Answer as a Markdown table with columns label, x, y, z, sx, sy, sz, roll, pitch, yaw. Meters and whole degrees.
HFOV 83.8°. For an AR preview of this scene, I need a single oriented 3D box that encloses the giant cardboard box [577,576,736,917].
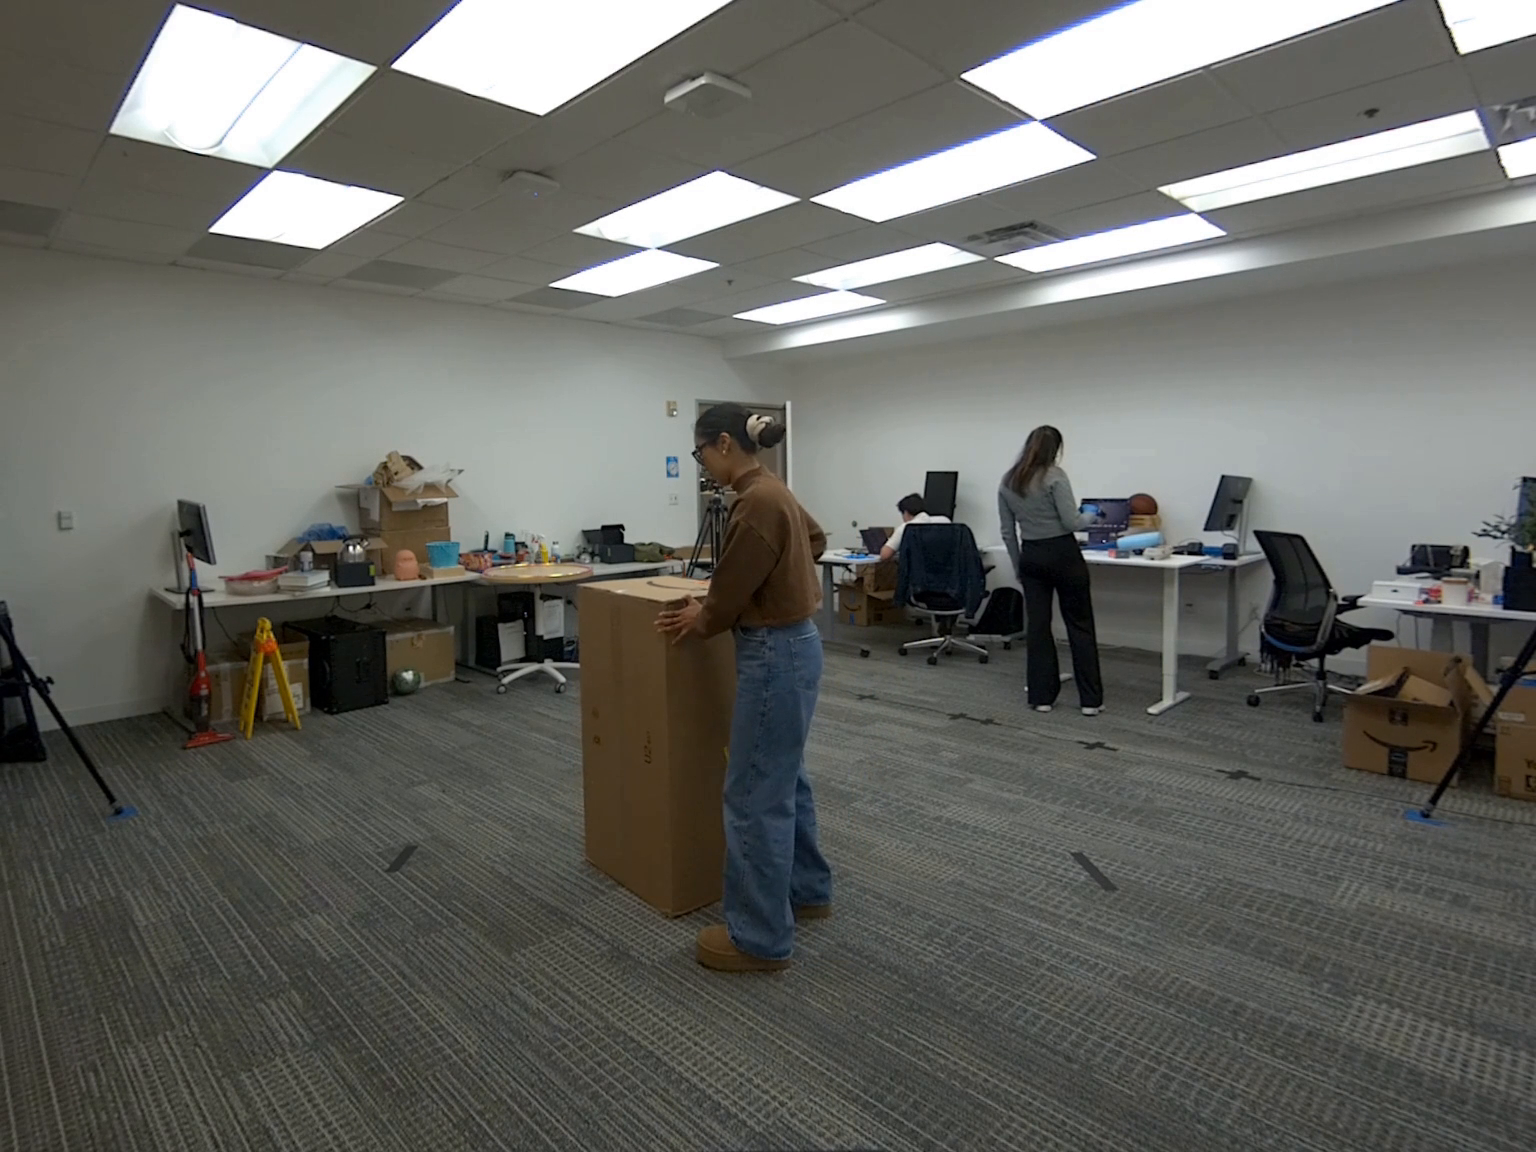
| label | x | y | z | sx | sy | sz | roll | pitch | yaw |
| --- | --- | --- | --- | --- | --- | --- | --- | --- | --- |
| giant cardboard box | -0.345 | 0.546 | 3.044 | 0.415 | 1.022 | 0.595 | -4 | 5 | -38 |
